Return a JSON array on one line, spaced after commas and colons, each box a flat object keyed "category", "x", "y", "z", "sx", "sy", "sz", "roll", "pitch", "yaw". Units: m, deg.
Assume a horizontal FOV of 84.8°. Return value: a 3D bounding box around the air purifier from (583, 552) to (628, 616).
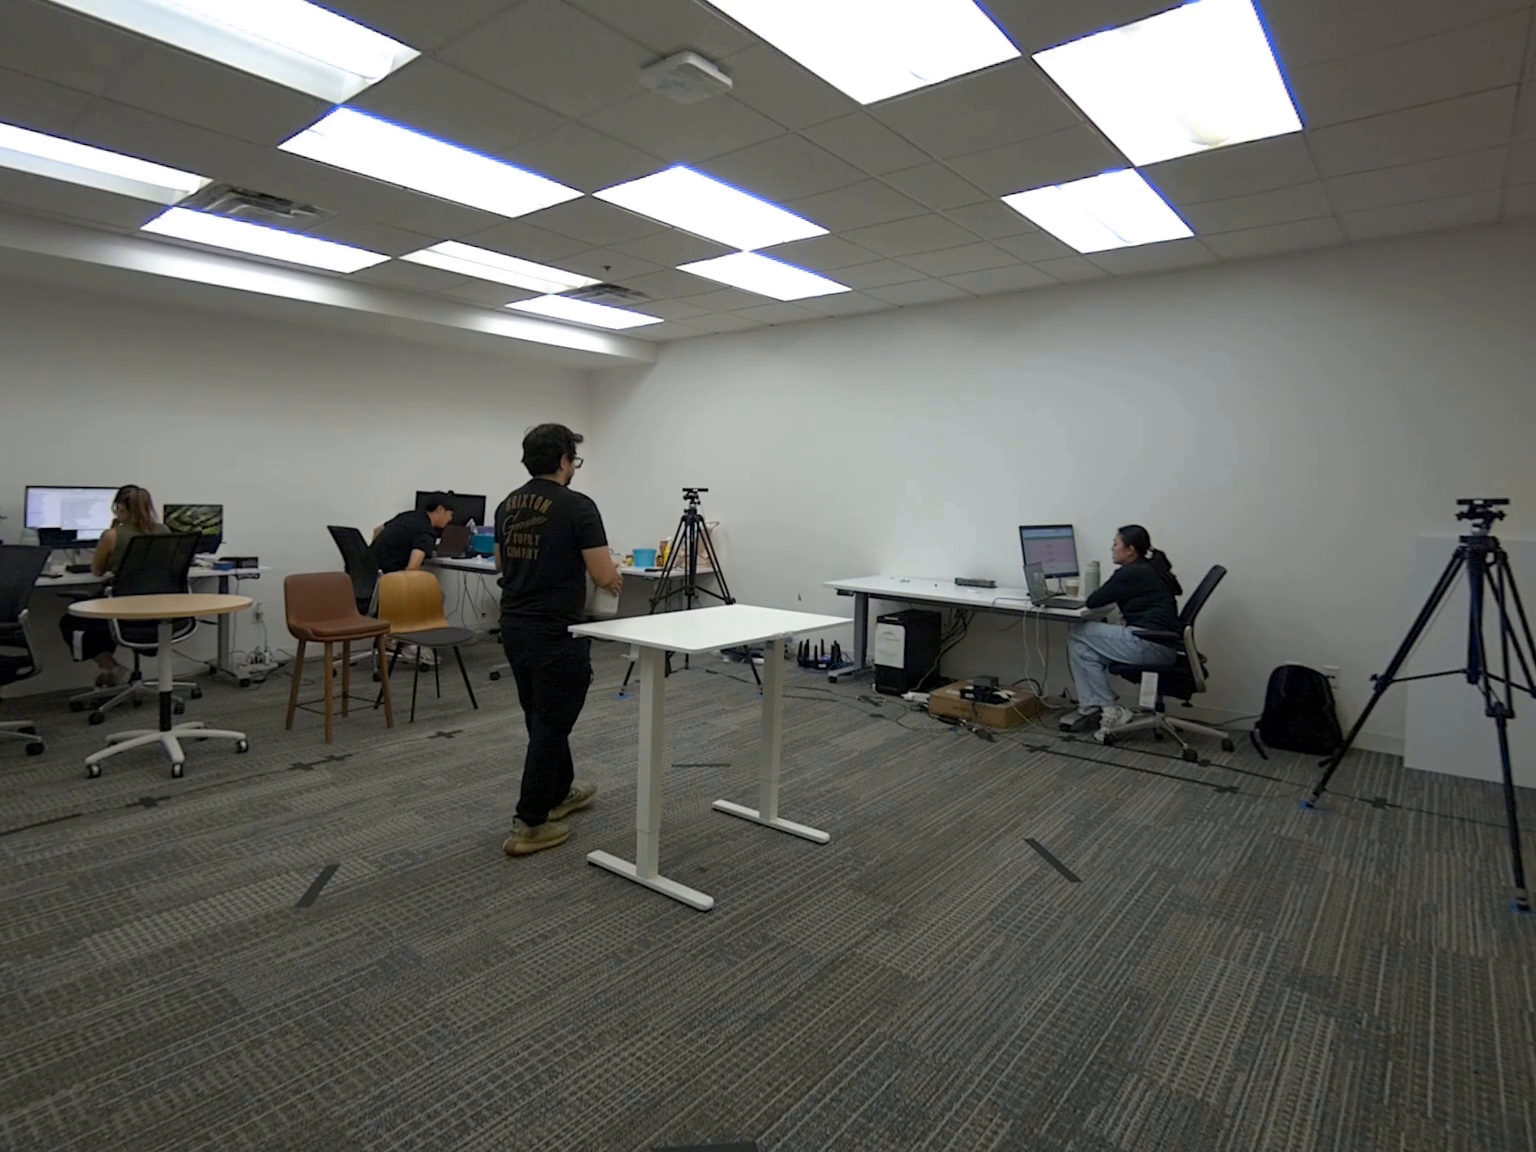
[{"category": "air purifier", "x": -0.730, "y": 0.029, "z": 3.590, "sx": 0.176, "sy": 0.266, "sz": 0.166, "roll": 2, "pitch": -3, "yaw": 27}]
